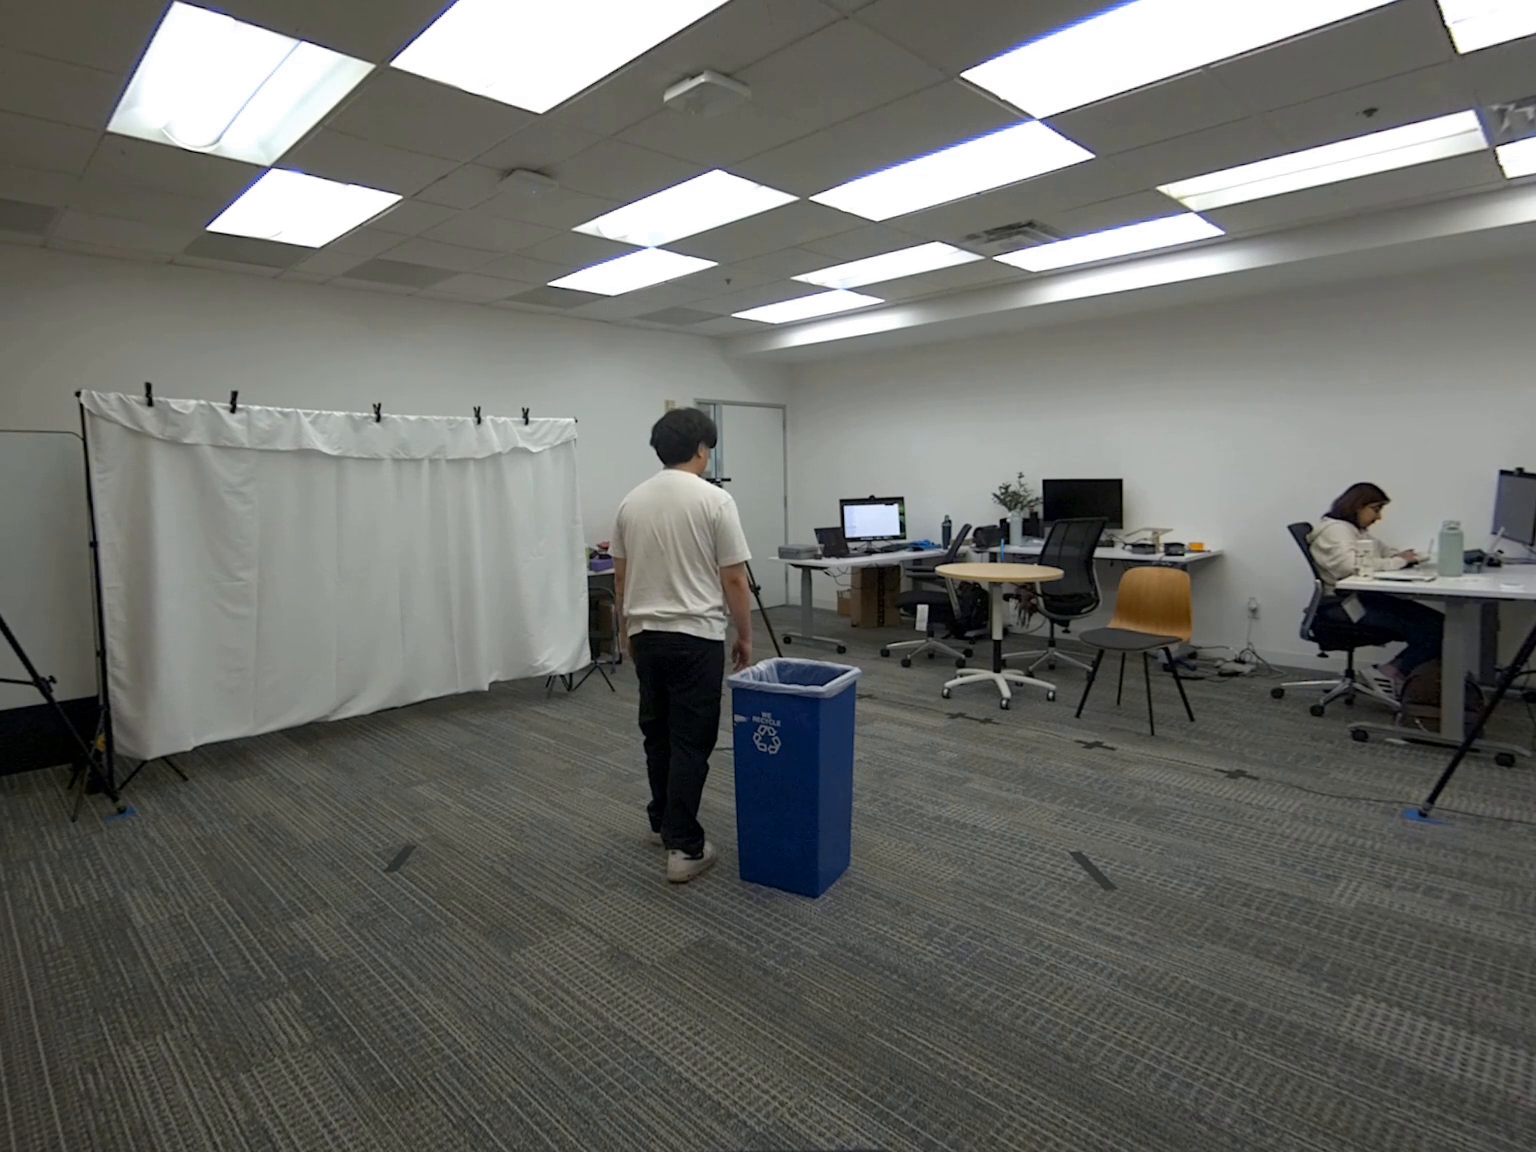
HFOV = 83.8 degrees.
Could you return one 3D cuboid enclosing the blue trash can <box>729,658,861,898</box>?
[{"bbox_3d":[0.103,0.690,3.007,0.383,0.711,0.370,1,5,29],"label":"blue trash can"}]
